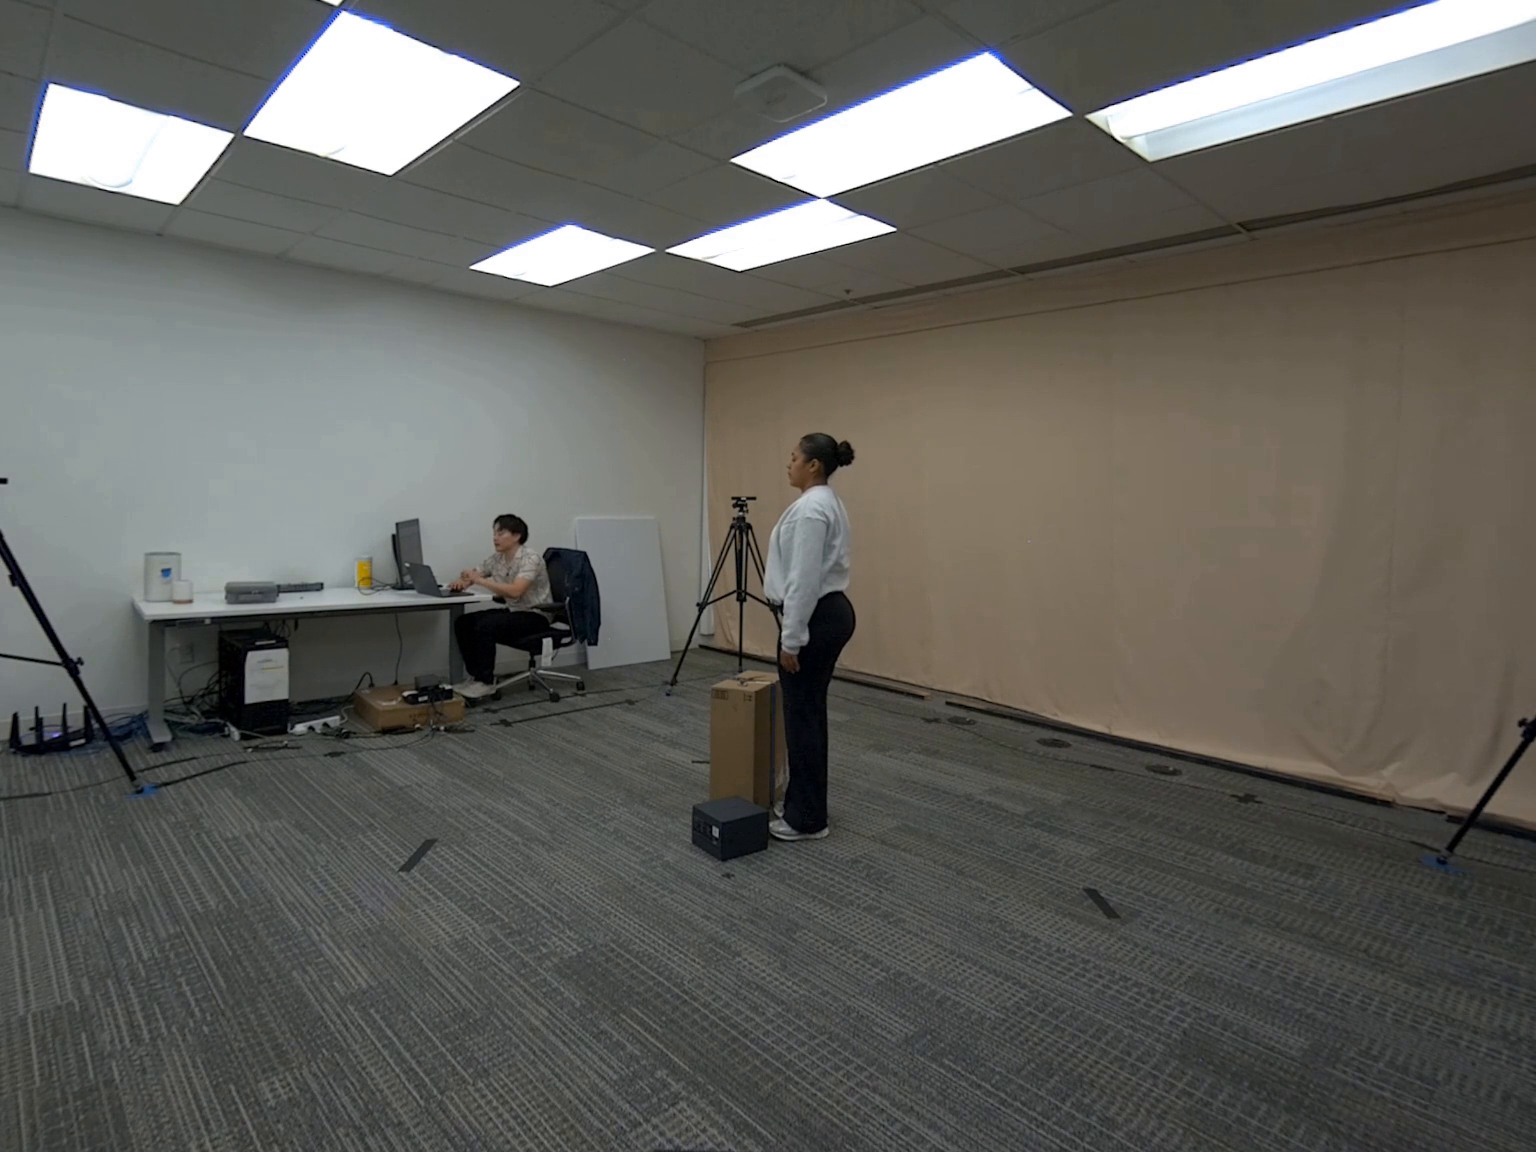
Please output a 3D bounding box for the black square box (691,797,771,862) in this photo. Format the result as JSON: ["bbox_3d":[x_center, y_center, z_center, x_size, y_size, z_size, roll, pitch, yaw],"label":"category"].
[{"bbox_3d":[-0.165,1.003,3.362,0.223,0.155,0.222,-1,5,-38],"label":"black square box"}]
